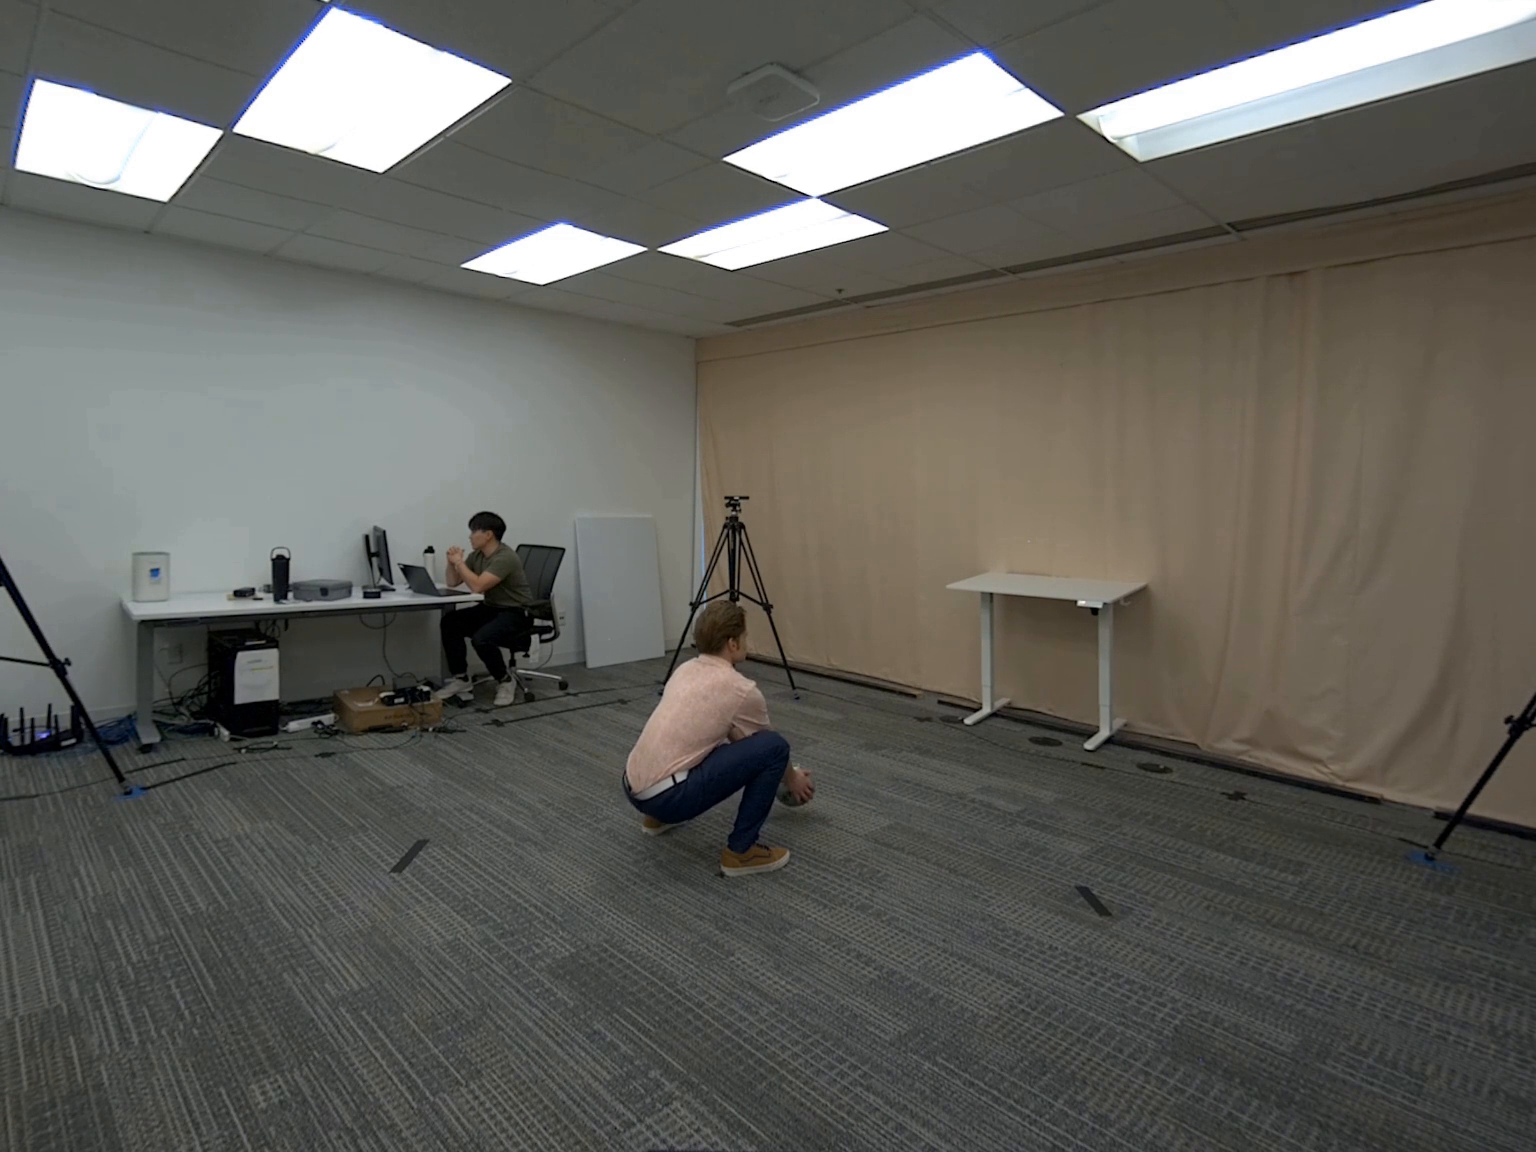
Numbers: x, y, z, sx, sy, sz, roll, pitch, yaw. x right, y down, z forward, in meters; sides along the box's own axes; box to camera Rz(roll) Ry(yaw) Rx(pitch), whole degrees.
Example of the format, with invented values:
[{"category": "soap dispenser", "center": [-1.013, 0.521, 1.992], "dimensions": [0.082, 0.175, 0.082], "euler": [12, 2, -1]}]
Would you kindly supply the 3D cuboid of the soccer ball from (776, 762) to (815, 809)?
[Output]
[{"category": "soccer ball", "center": [0.102, 0.901, 3.676], "dimensions": [0.187, 0.187, 0.188], "euler": [1, 4, -1]}]
